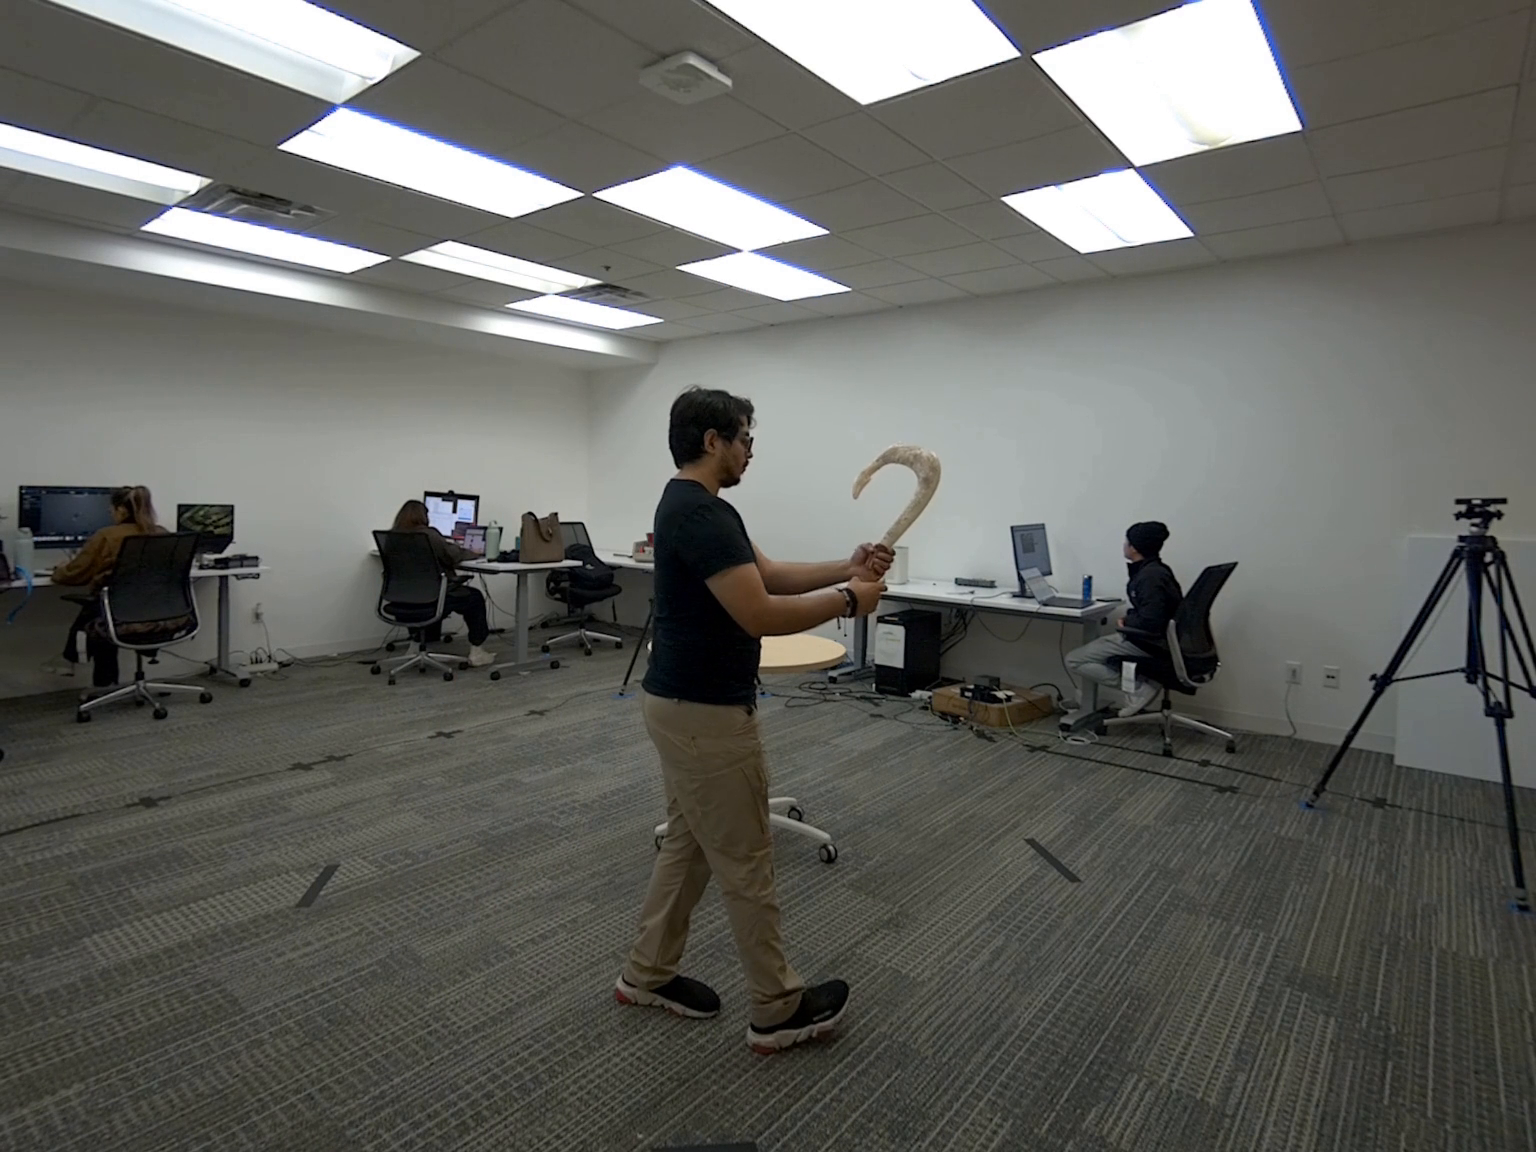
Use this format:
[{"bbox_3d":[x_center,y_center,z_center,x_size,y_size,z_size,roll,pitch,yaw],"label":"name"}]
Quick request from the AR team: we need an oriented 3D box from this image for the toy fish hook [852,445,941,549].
[{"bbox_3d":[0.279,-0.131,2.240,0.233,0.508,0.046,19,-17,39],"label":"toy fish hook"}]
